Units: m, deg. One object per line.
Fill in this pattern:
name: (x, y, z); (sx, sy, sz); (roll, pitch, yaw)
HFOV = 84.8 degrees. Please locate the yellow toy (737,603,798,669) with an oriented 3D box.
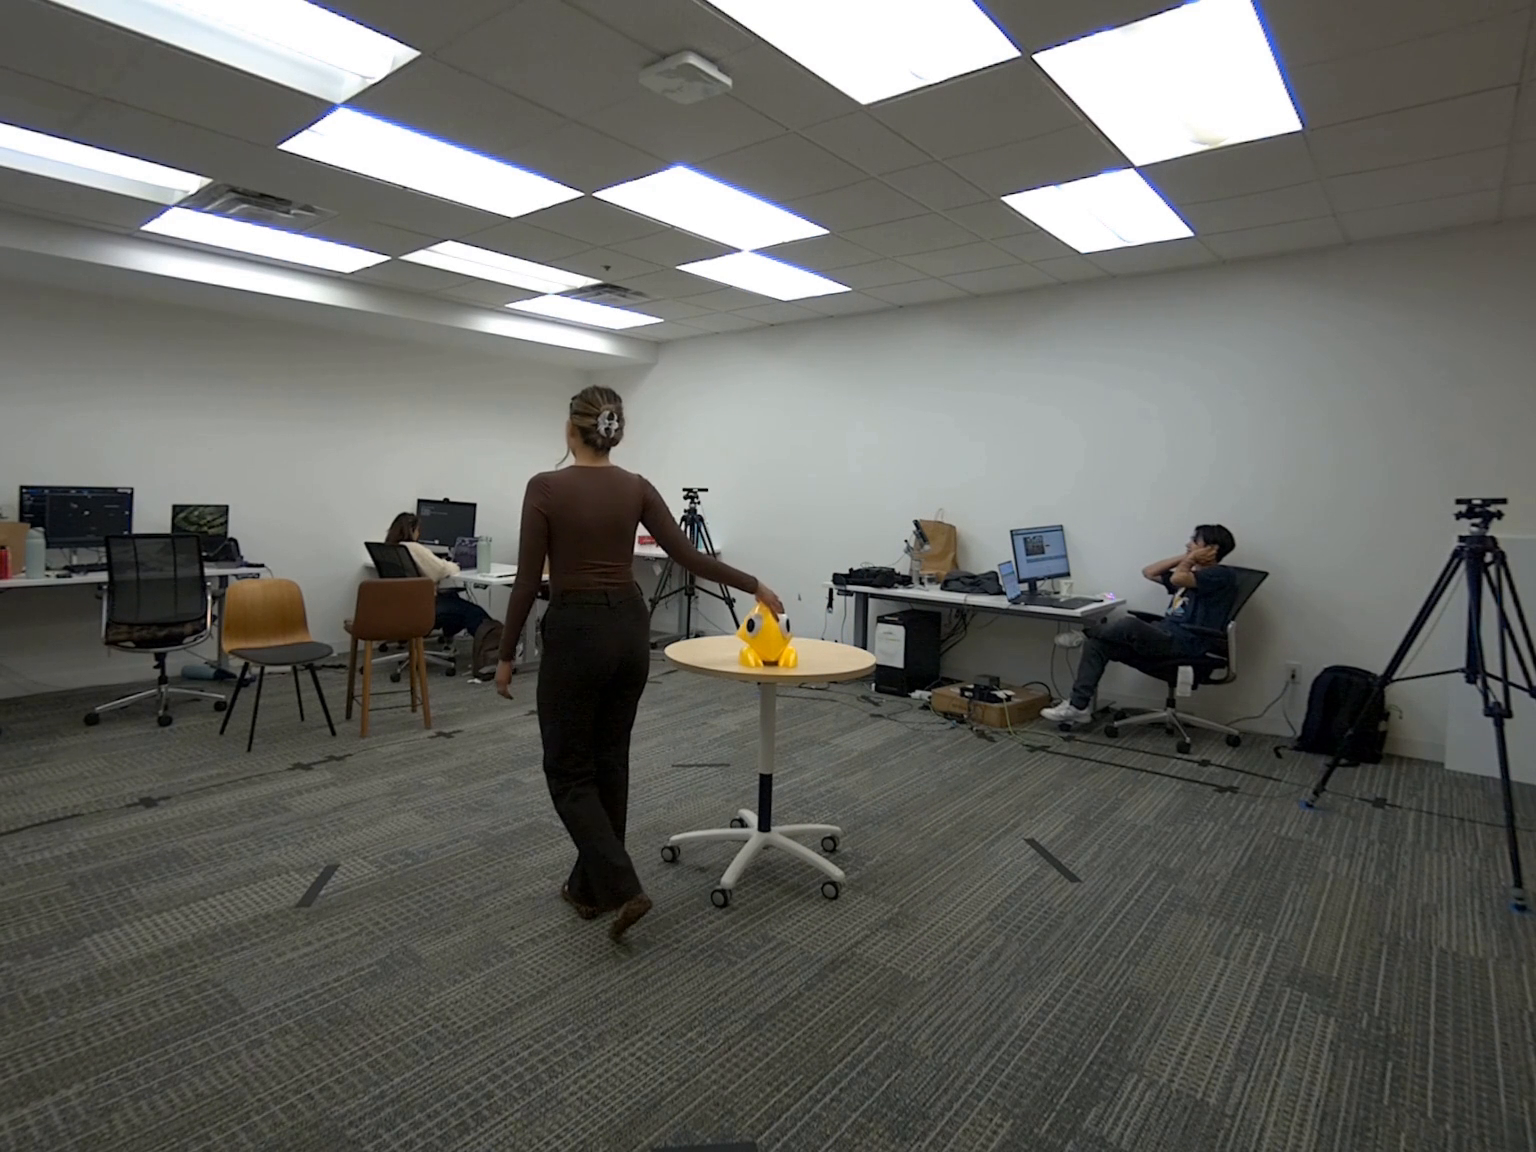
yellow toy: (-0.002, 0.183, 2.911); (0.203, 0.230, 0.195); (2, 2, -6)
